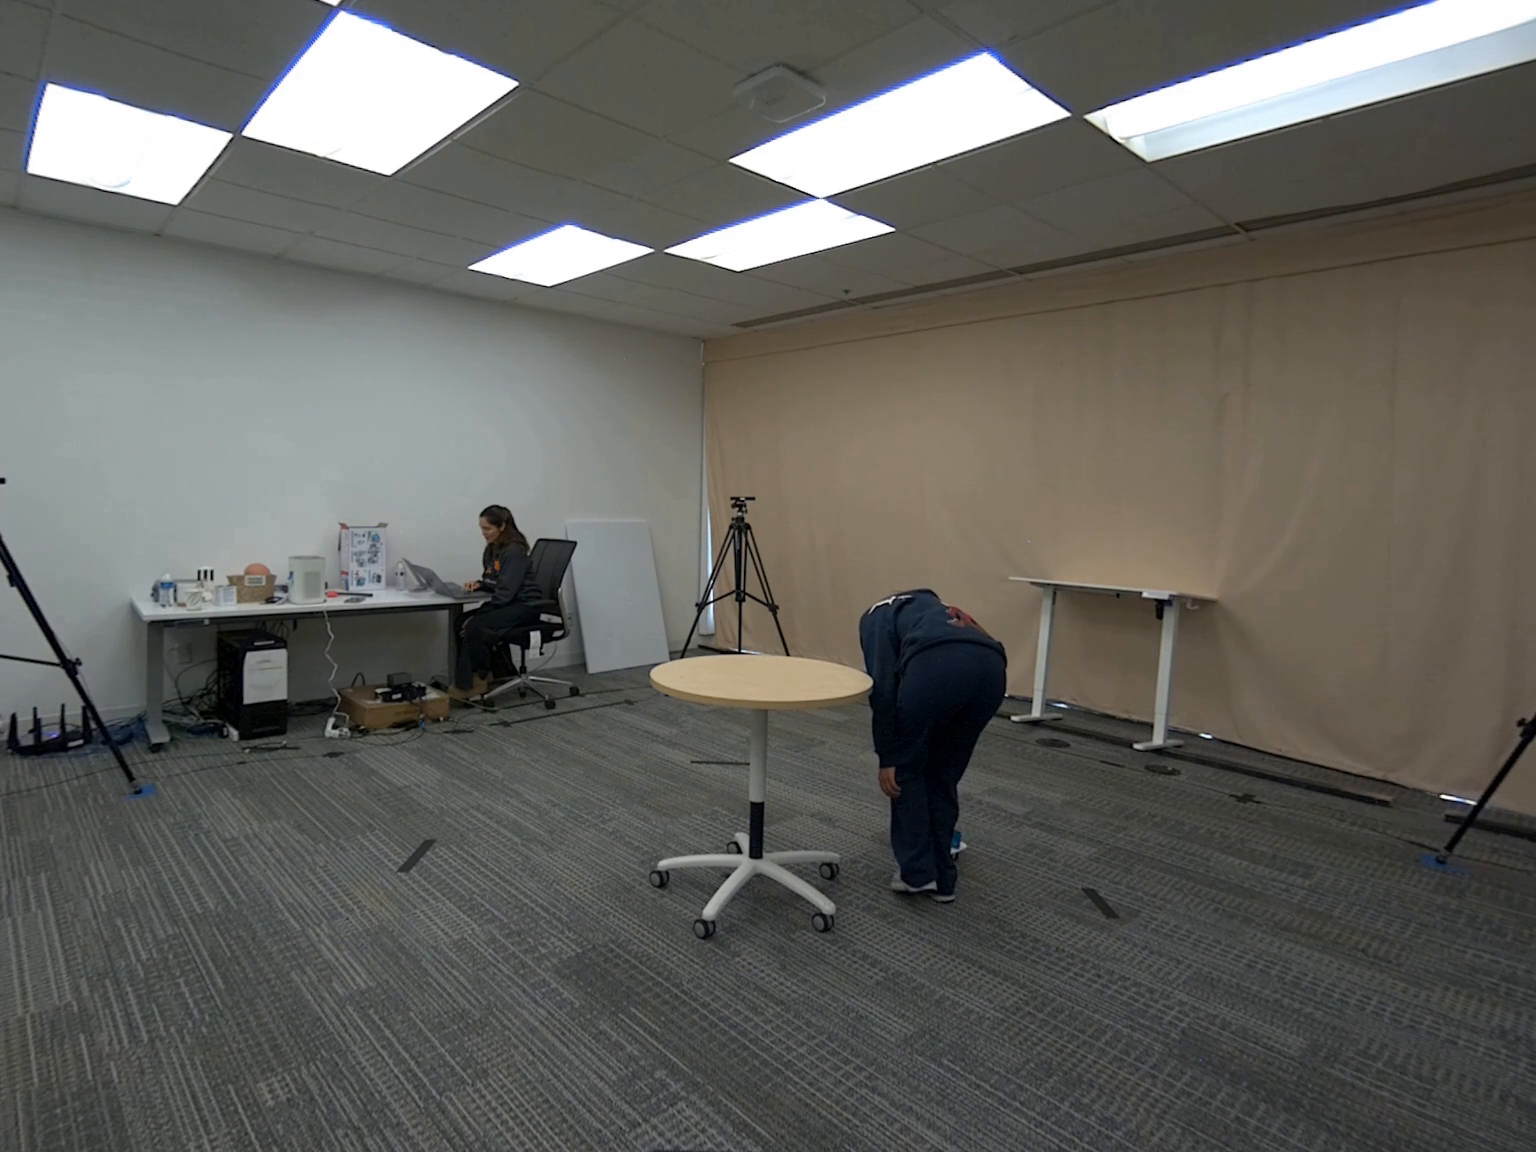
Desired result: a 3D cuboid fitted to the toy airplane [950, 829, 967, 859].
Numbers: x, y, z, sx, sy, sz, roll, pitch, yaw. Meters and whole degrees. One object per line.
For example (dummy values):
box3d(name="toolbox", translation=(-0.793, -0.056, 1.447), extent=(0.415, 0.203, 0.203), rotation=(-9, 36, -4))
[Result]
box3d(name="toy airplane", translation=(0.665, 1.035, 3.378), extent=(0.263, 0.156, 0.248), rotation=(1, 5, 20))
